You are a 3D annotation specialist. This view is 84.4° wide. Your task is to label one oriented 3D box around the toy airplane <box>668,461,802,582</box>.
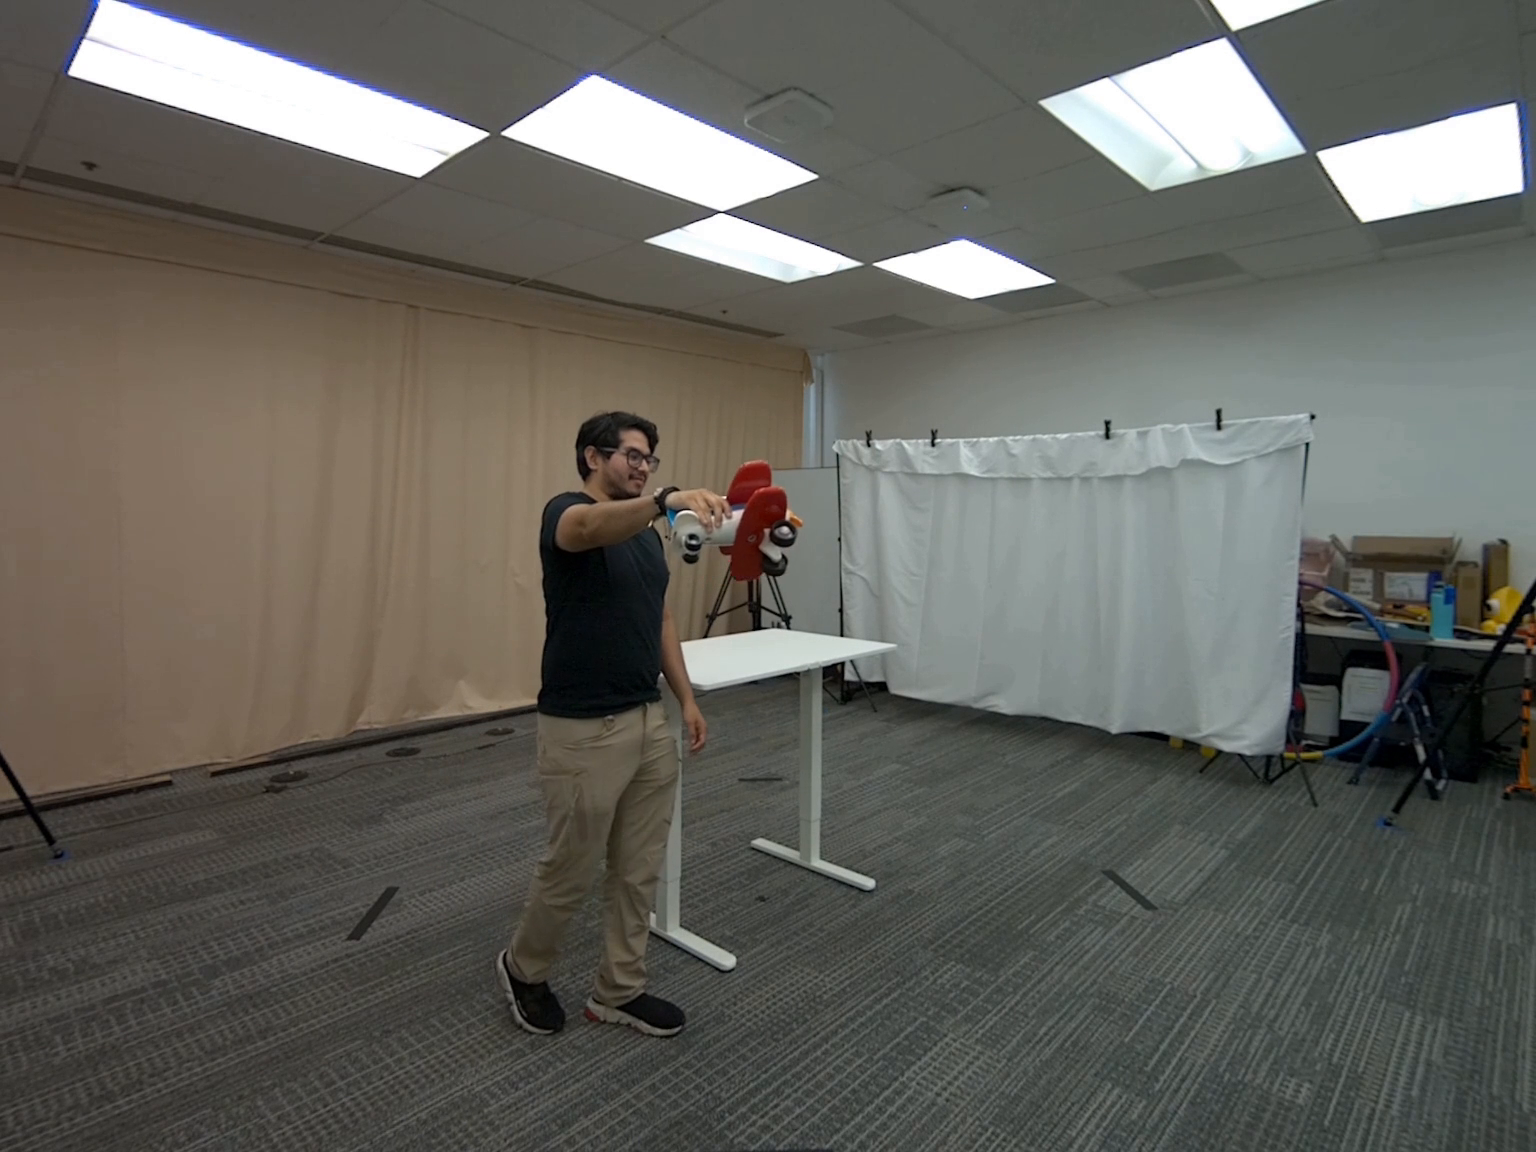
[{"bbox_3d":[-0.061,-0.105,1.658,0.251,0.160,0.253,26,-55,-31],"label":"toy airplane"}]
